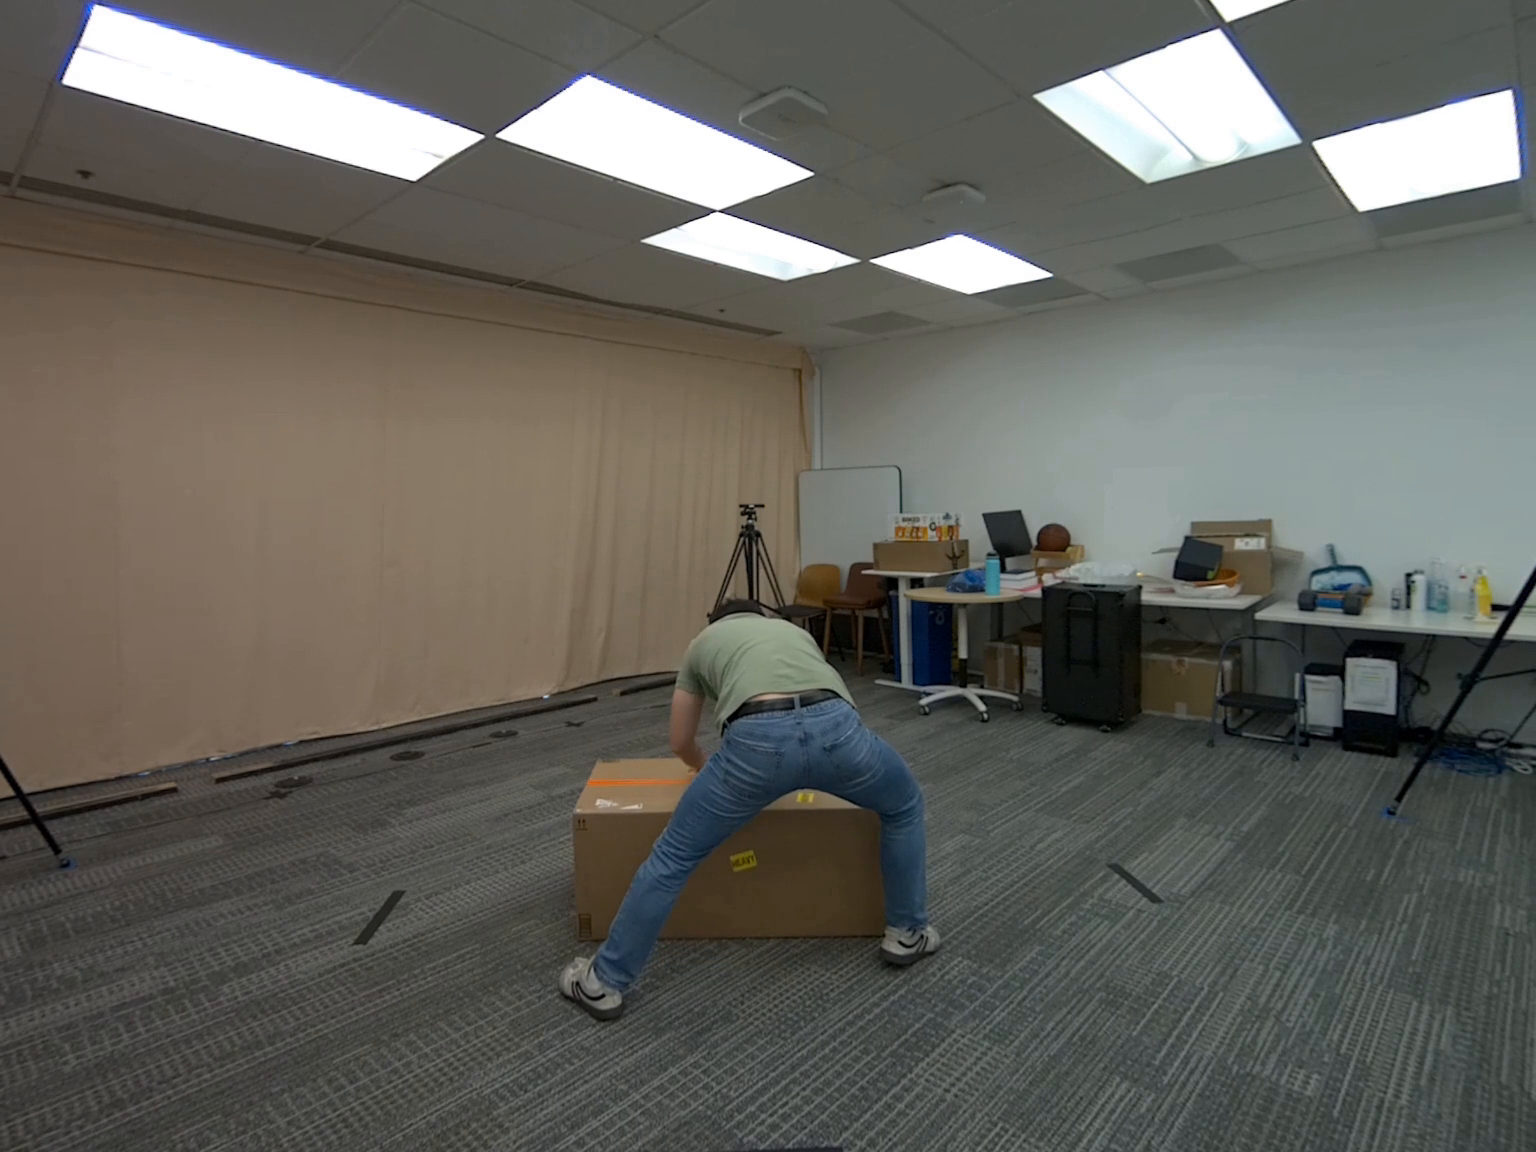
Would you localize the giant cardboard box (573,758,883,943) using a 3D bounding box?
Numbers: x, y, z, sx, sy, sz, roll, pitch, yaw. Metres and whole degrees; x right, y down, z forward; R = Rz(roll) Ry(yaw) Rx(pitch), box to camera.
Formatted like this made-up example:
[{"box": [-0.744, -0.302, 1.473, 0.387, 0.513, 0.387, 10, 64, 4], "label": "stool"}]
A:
[{"box": [-0.128, 0.927, 2.977, 1.026, 0.425, 0.579, -1, 5, 0], "label": "giant cardboard box"}]
